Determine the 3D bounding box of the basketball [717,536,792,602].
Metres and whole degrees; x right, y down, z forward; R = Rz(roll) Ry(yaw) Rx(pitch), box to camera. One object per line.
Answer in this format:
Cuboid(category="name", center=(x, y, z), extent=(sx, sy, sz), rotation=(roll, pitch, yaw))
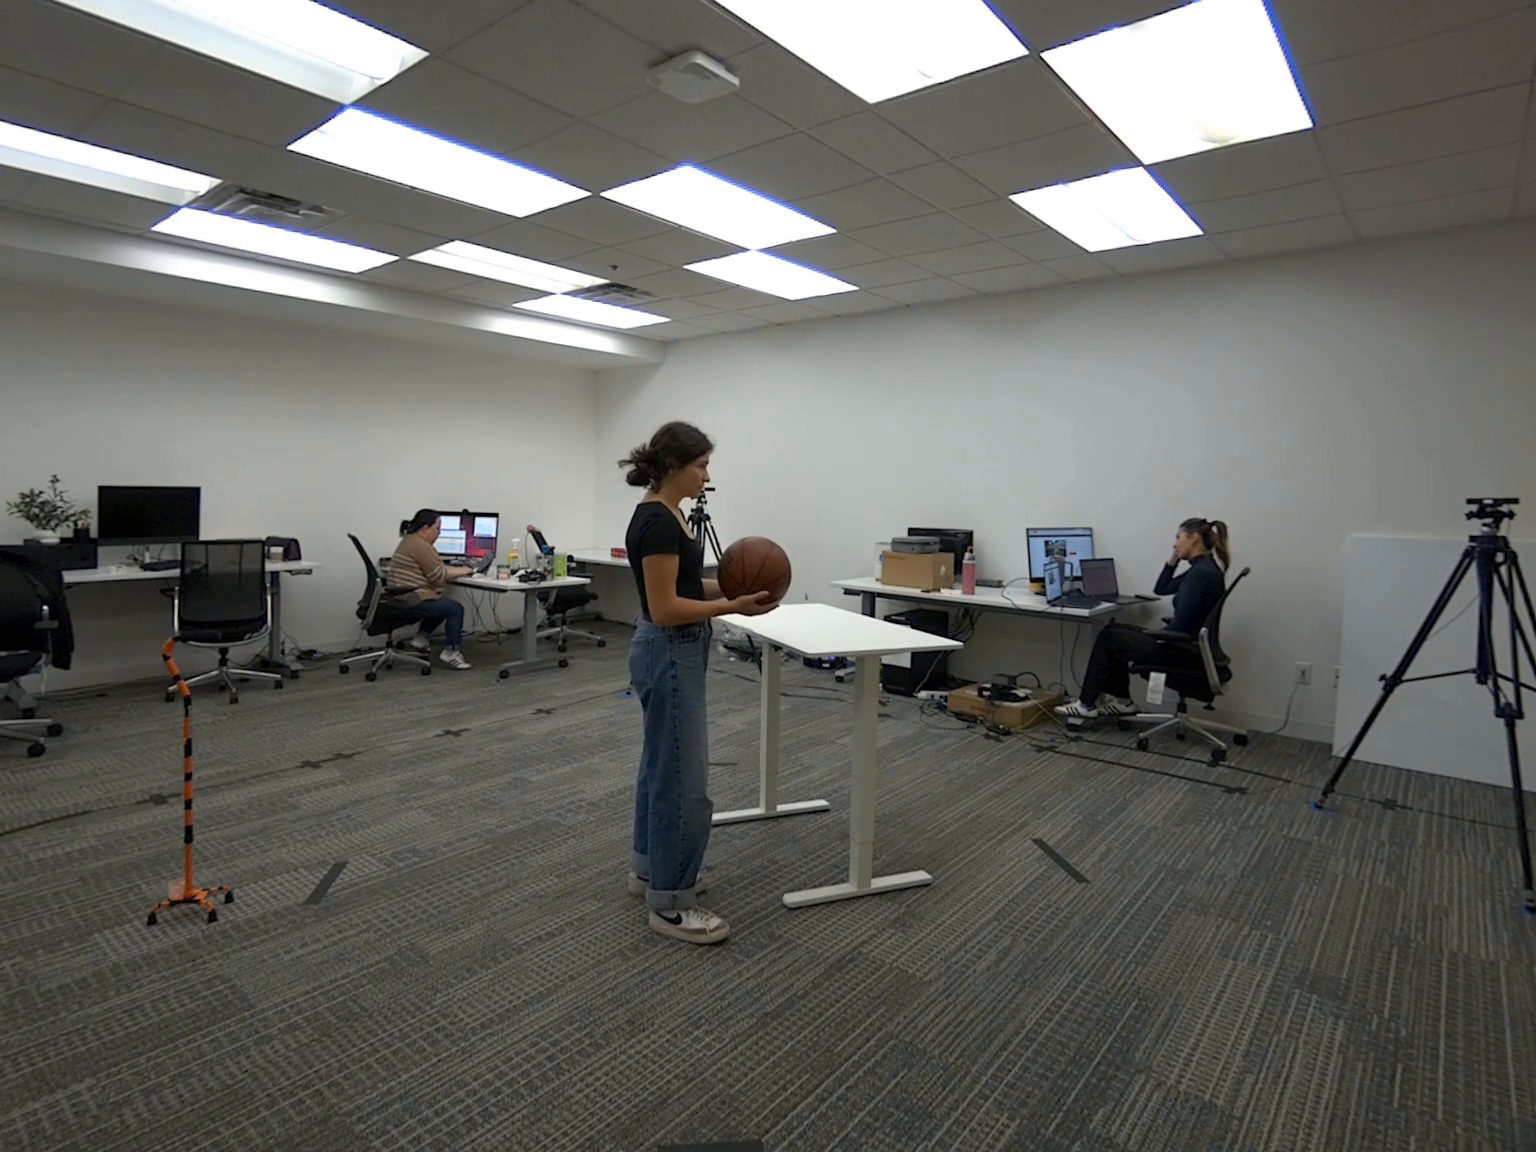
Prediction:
Cuboid(category="basketball", center=(-0.053, -0.006, 2.714), extent=(0.235, 0.235, 0.237), rotation=(1, 4, -2))
